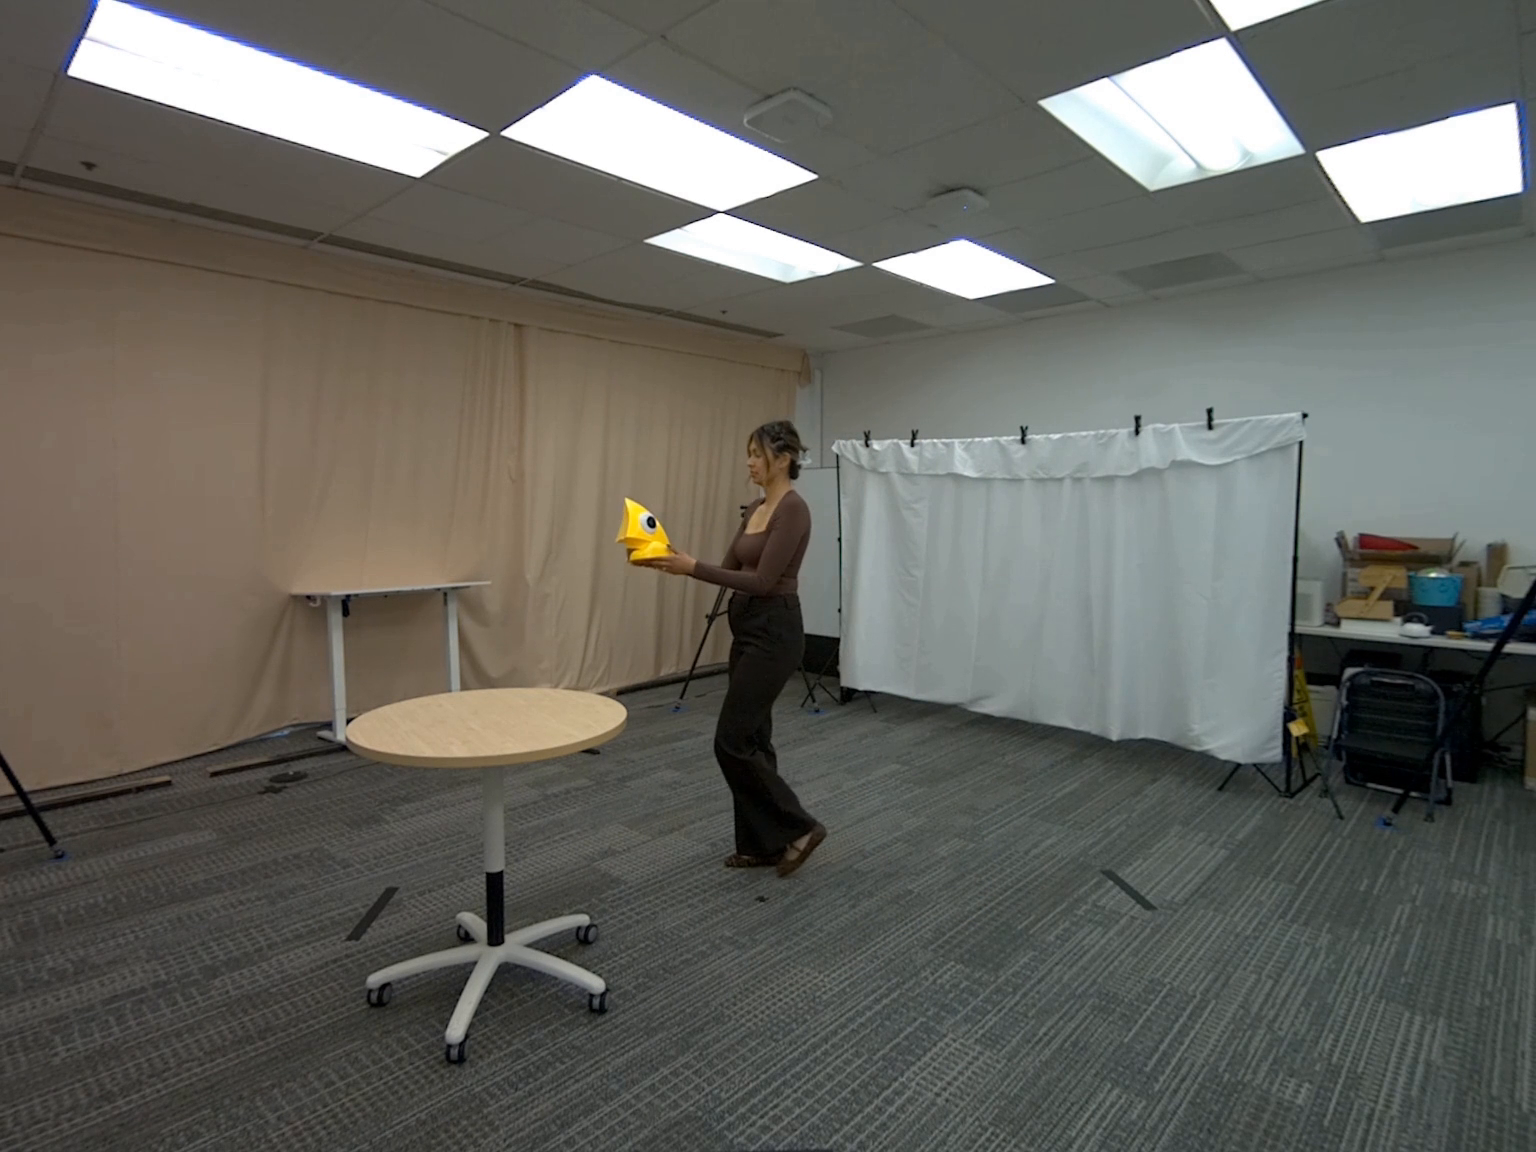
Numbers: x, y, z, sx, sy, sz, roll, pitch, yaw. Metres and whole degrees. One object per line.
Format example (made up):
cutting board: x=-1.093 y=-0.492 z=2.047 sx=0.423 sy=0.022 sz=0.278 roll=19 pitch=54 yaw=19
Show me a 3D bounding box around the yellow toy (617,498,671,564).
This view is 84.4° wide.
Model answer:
yellow toy: x=-0.447 y=-0.171 z=3.078 sx=0.189 sy=0.231 sz=0.208 roll=-4 pitch=-4 yaw=-21
